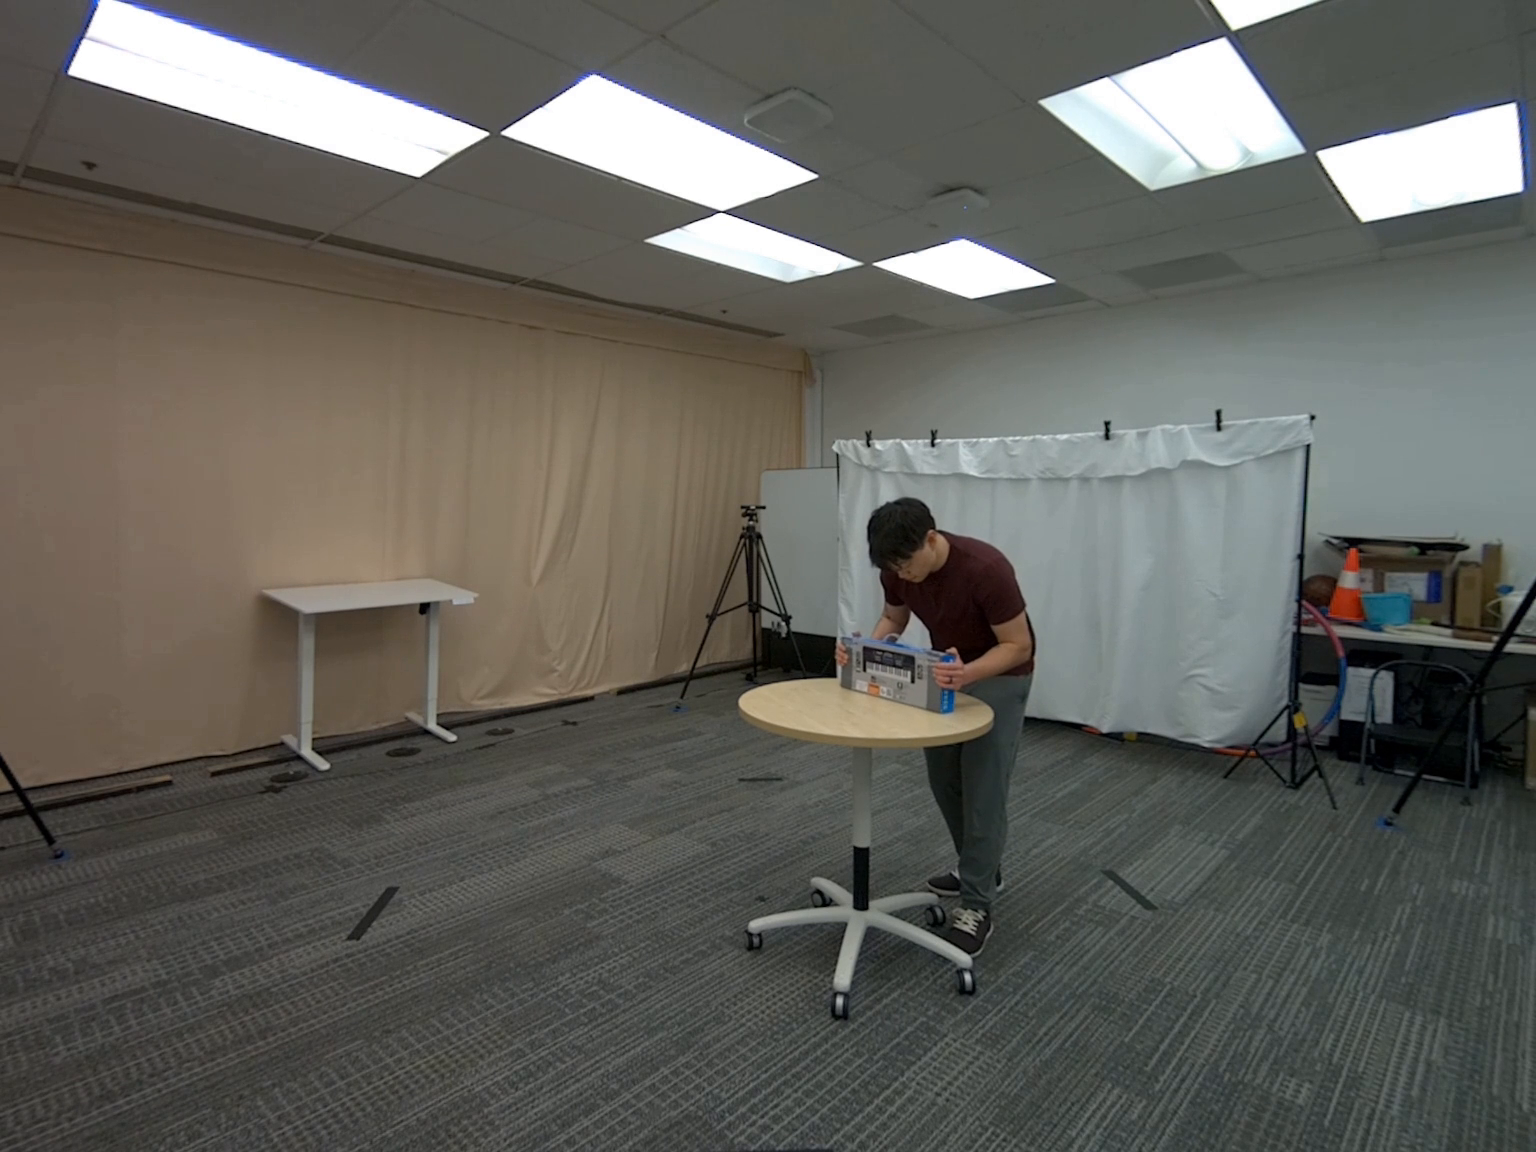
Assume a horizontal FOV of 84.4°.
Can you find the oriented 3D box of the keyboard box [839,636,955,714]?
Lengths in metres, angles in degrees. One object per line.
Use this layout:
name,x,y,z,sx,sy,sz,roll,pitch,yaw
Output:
keyboard box,0.407,0.310,2.659,0.057,0.175,0.451,-3,6,-36
